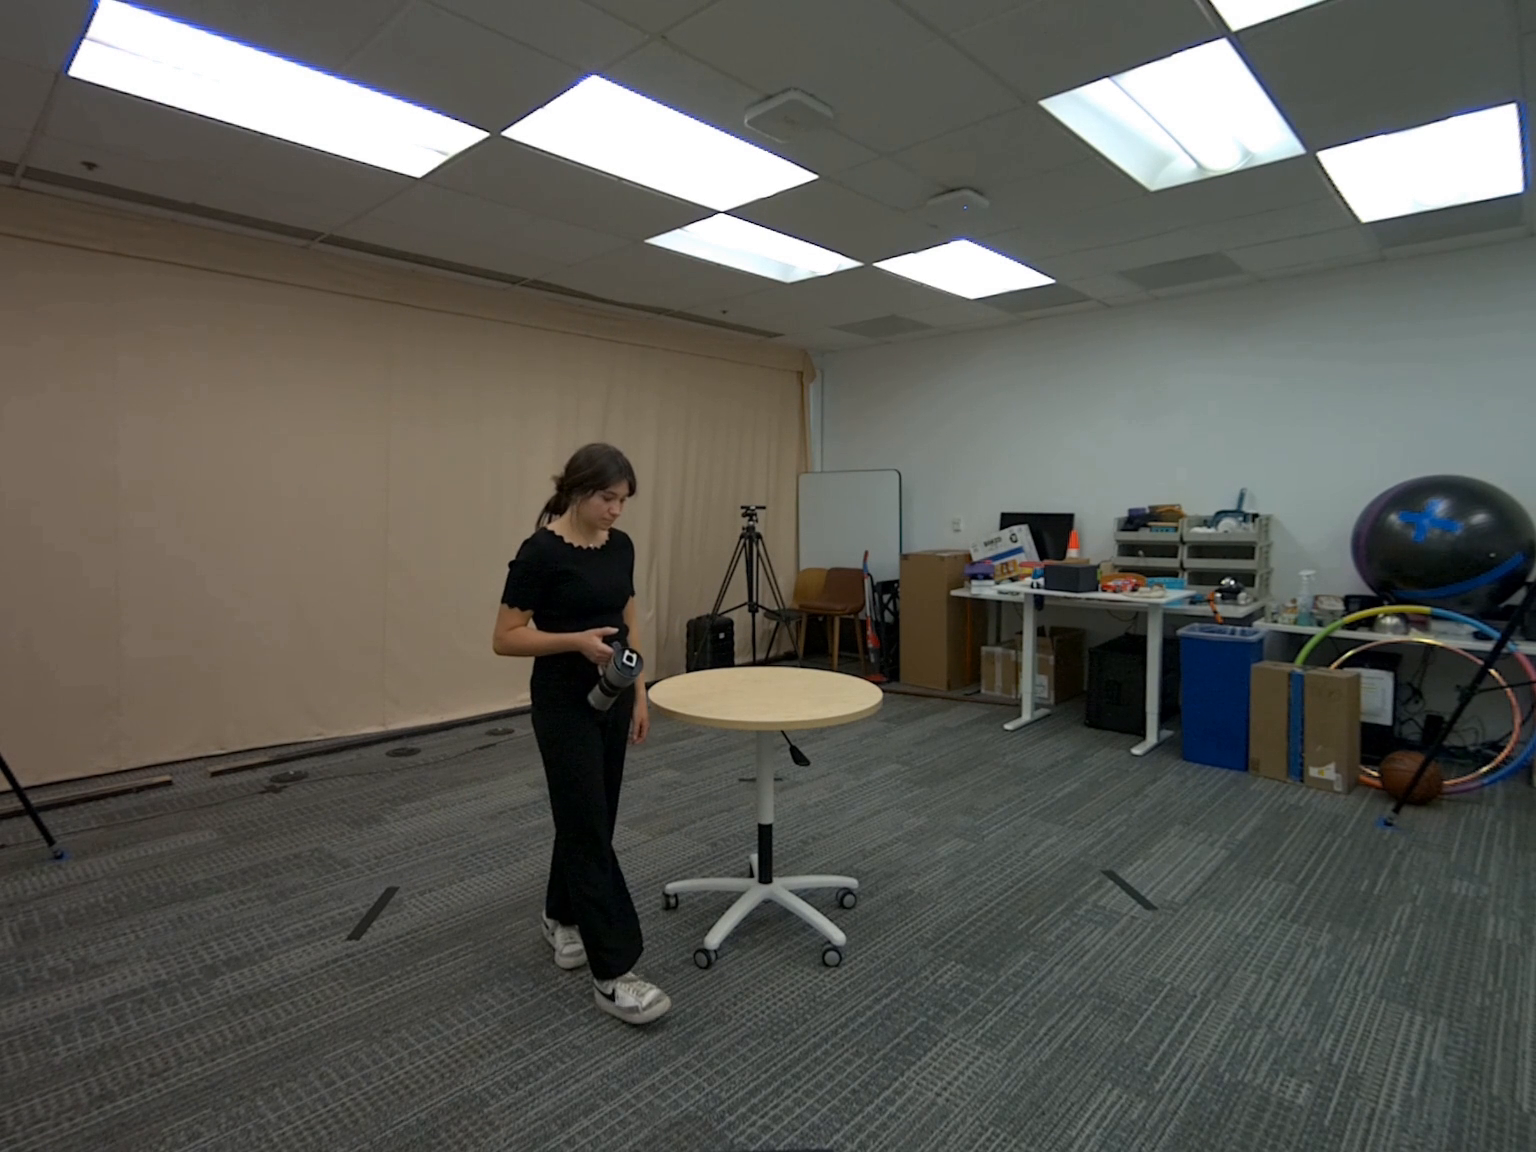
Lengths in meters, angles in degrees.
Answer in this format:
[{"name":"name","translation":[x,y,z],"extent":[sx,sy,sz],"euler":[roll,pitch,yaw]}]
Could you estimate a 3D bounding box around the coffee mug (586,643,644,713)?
[{"name":"coffee mug","translation":[-0.426,0.270,2.292],"extent":[0.085,0.125,0.204],"euler":[-3,-35,-39]}]
